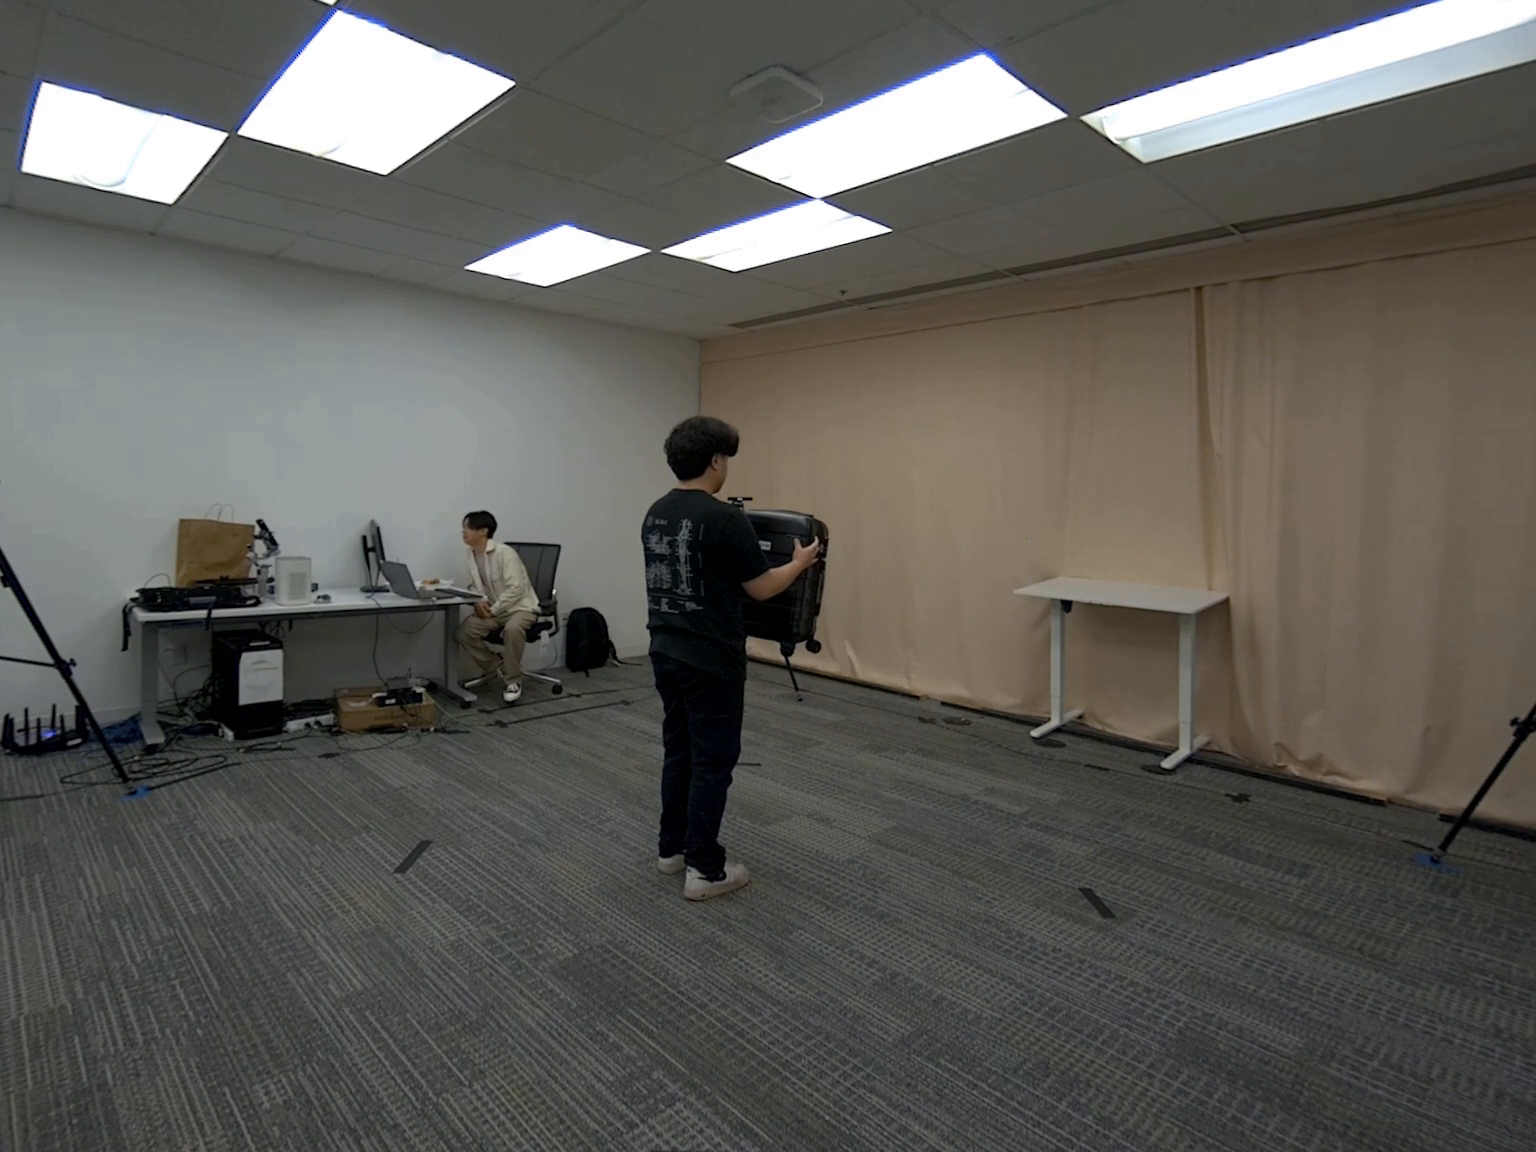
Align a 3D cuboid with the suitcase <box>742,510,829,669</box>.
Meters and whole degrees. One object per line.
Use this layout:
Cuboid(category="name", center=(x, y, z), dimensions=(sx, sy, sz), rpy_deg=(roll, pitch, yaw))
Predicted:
Cuboid(category="suitcase", center=(0.031, 0.011, 3.356), dimensions=(0.384, 0.548, 0.243), rpy_deg=(10, 4, 26))
